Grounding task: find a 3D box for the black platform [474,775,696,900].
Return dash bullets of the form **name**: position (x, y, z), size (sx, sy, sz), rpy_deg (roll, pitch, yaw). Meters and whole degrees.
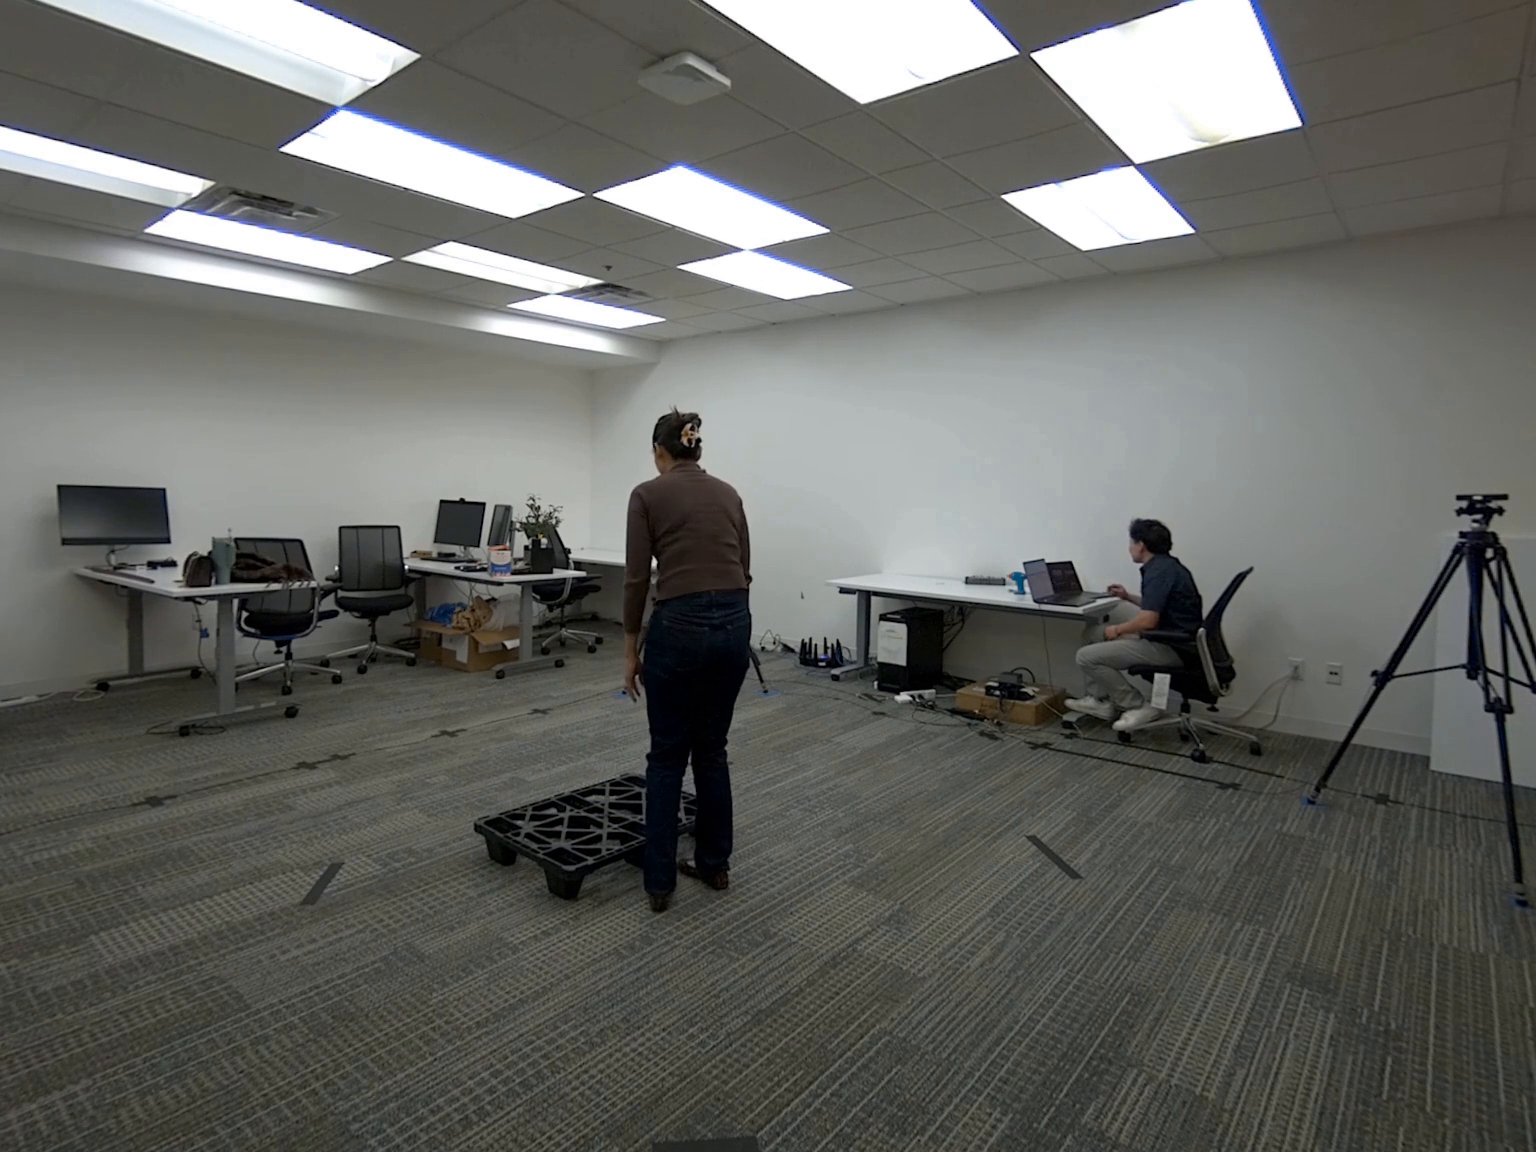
- **black platform**: position (-0.632, 0.978, 3.267), size (0.626, 0.143, 0.782), rpy_deg (6, 8, 41)
